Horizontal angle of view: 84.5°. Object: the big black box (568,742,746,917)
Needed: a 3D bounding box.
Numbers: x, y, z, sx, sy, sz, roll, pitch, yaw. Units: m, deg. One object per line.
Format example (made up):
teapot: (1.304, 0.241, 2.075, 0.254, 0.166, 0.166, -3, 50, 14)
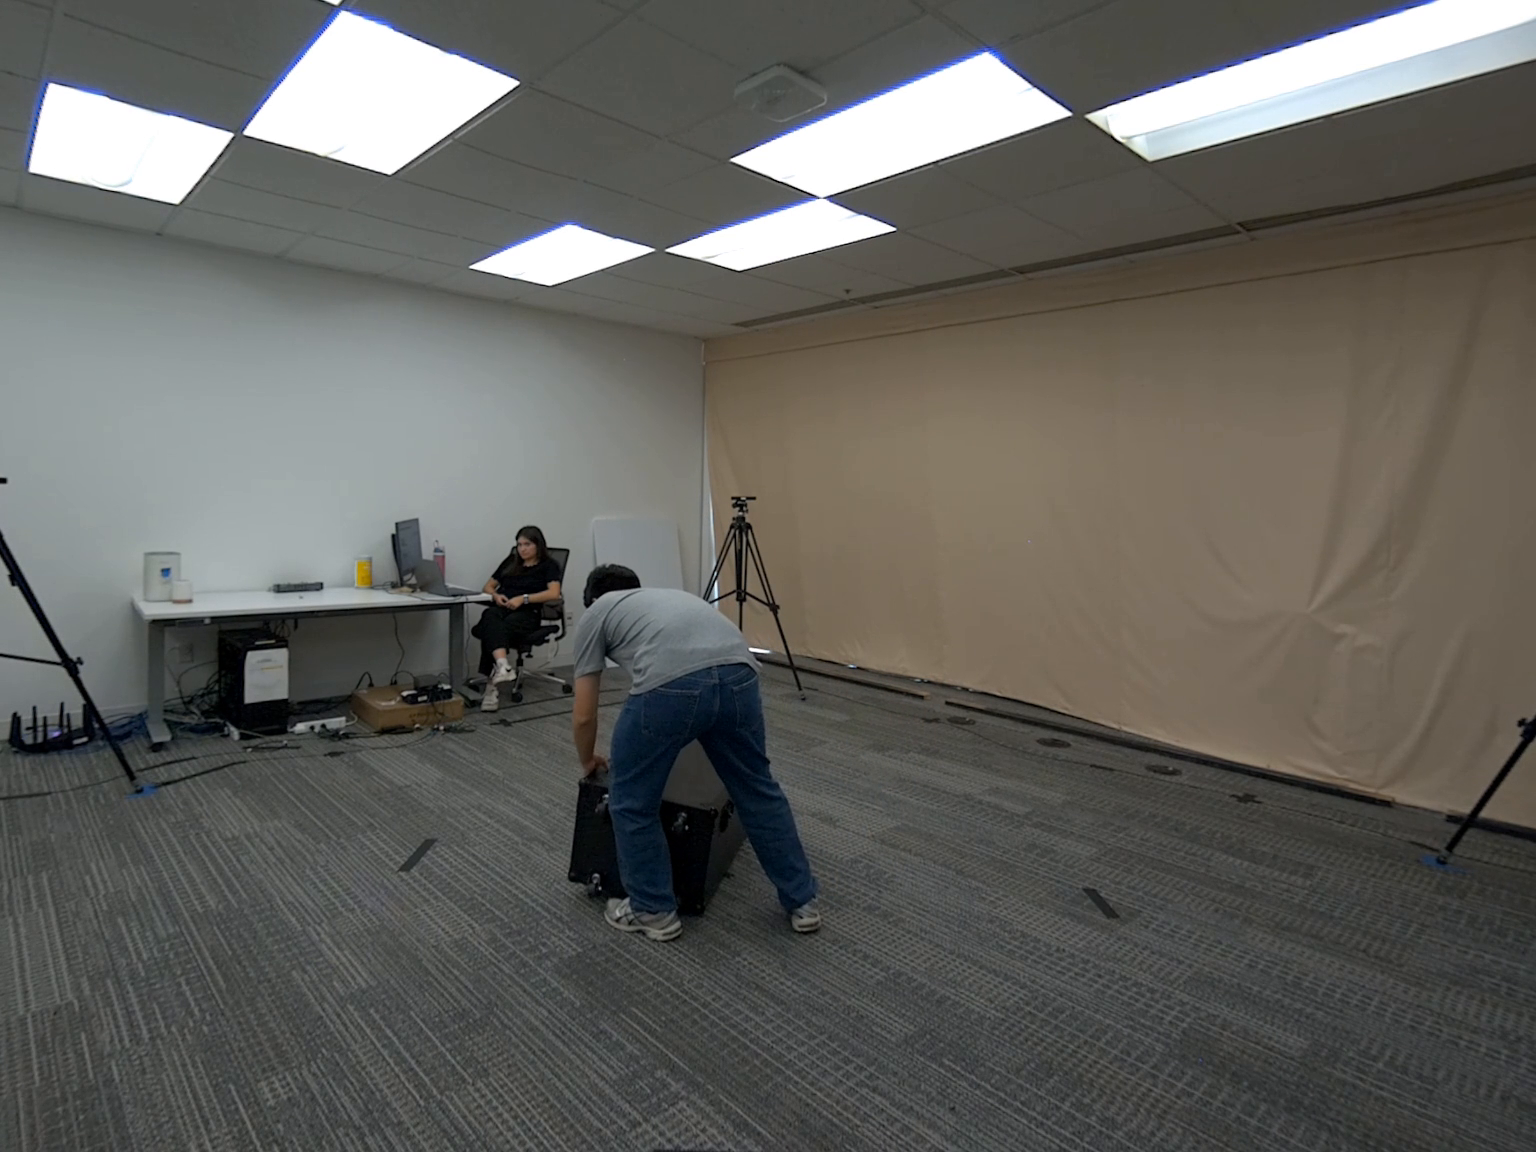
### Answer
big black box: (-0.366, 0.884, 3.157, 0.527, 0.395, 0.855, 8, 6, 11)
